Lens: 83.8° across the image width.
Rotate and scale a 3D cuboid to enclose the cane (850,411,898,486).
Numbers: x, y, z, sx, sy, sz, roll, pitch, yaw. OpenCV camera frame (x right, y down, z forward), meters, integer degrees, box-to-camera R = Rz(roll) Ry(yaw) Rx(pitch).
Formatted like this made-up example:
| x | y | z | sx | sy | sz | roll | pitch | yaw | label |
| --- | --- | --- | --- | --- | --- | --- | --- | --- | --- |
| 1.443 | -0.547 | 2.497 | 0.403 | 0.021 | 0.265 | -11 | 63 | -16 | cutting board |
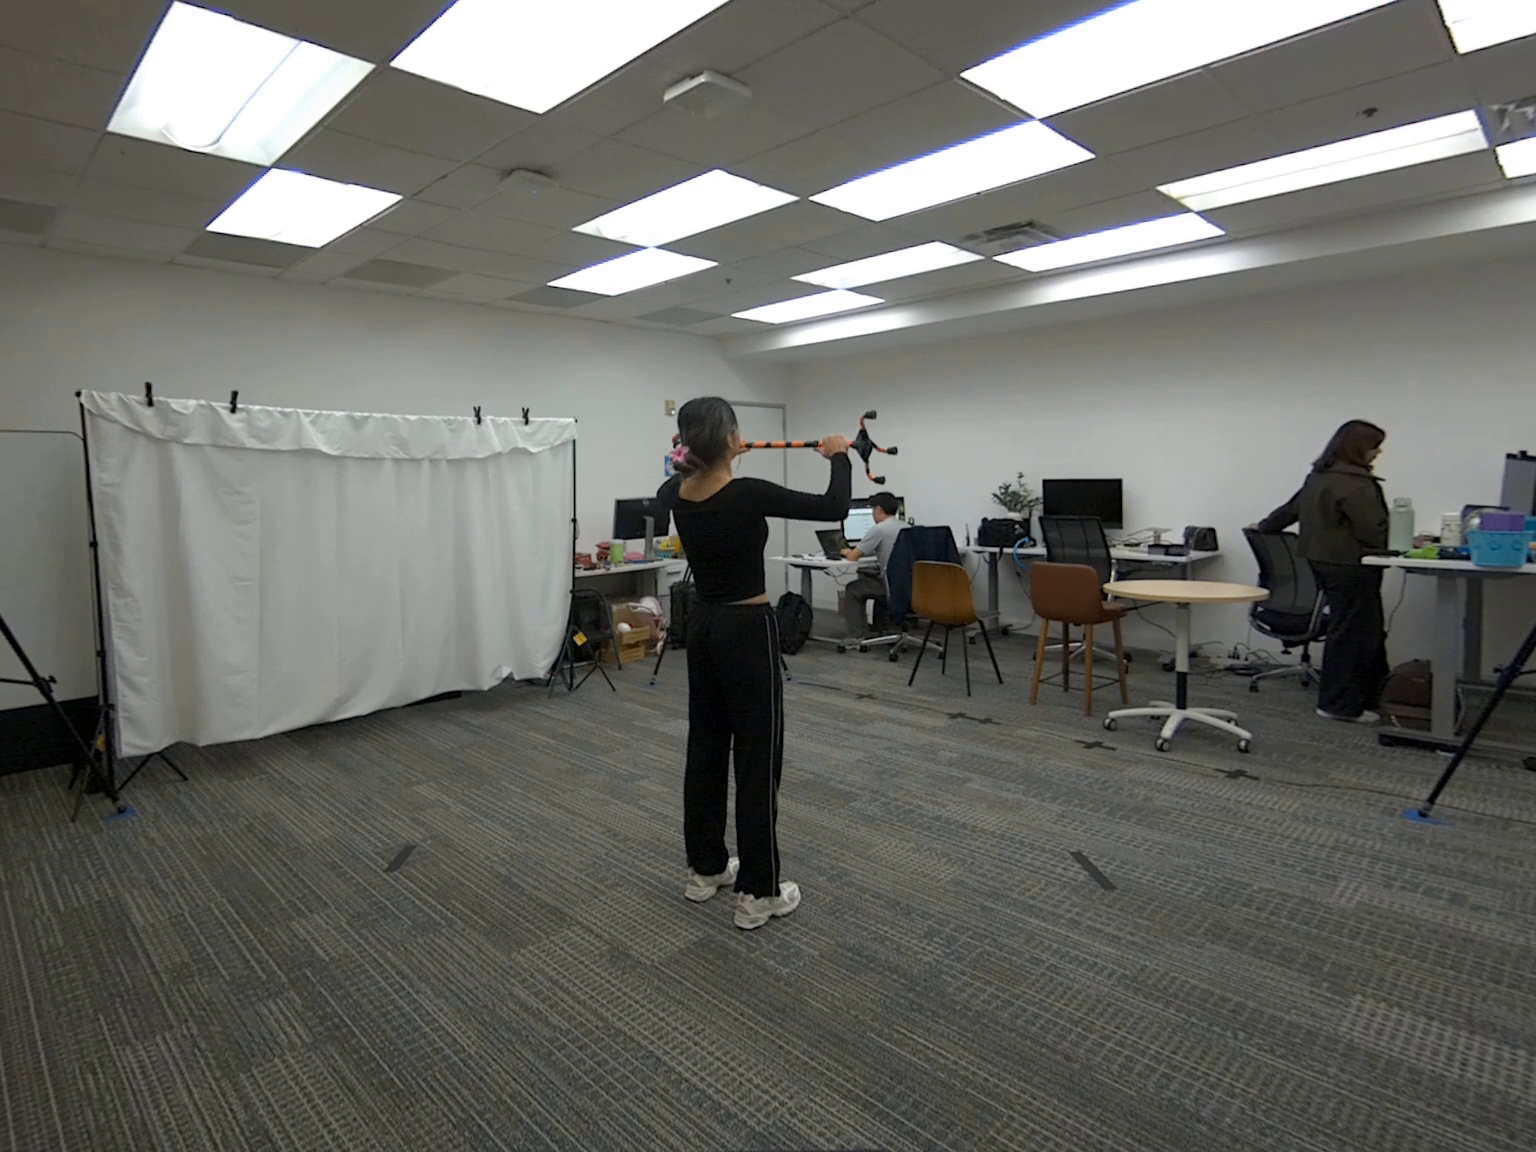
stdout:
| x | y | z | sx | sy | sz | roll | pitch | yaw | label |
| --- | --- | --- | --- | --- | --- | --- | --- | --- | --- |
| -0.006 | -0.452 | 3.014 | 0.937 | 0.153 | 0.198 | 7 | -31 | 40 | cane |
